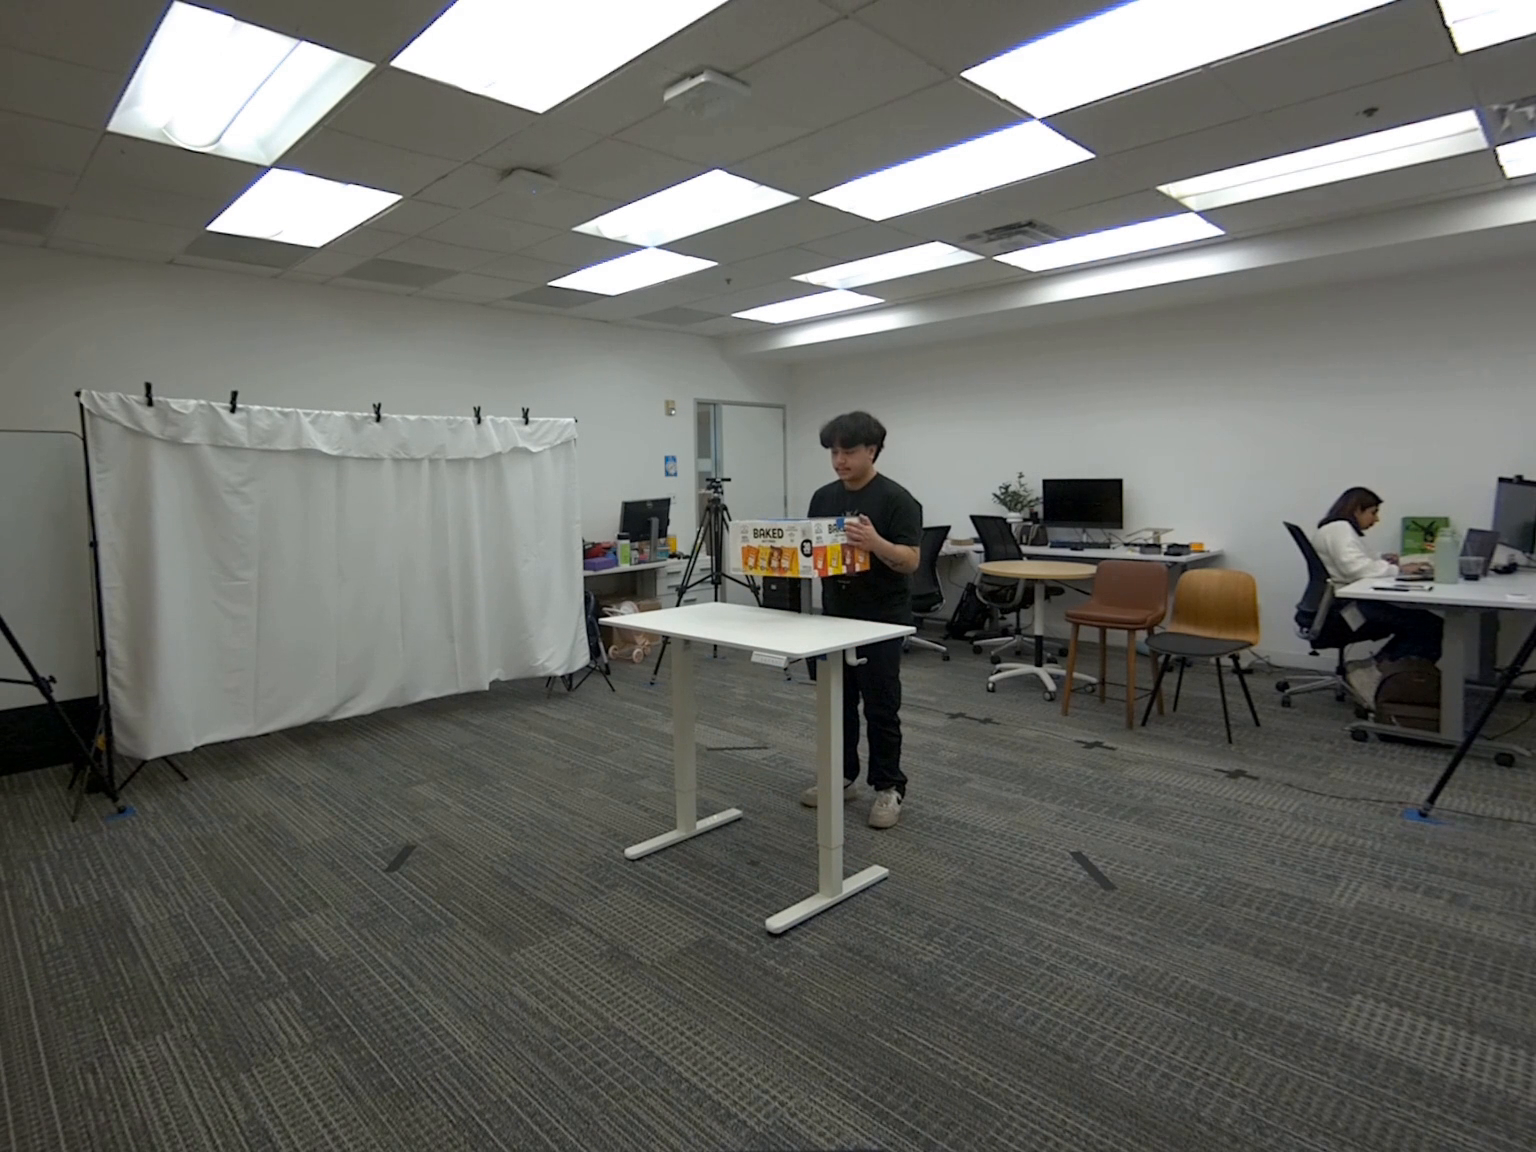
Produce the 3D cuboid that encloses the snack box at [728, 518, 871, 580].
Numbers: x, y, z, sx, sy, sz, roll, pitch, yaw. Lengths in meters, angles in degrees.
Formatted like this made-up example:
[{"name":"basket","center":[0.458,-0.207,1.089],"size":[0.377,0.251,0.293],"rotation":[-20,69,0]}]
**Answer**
[{"name":"snack box","center":[0.112,-0.112,3.248],"size":[0.417,0.205,0.331],"rotation":[2,6,43]}]
